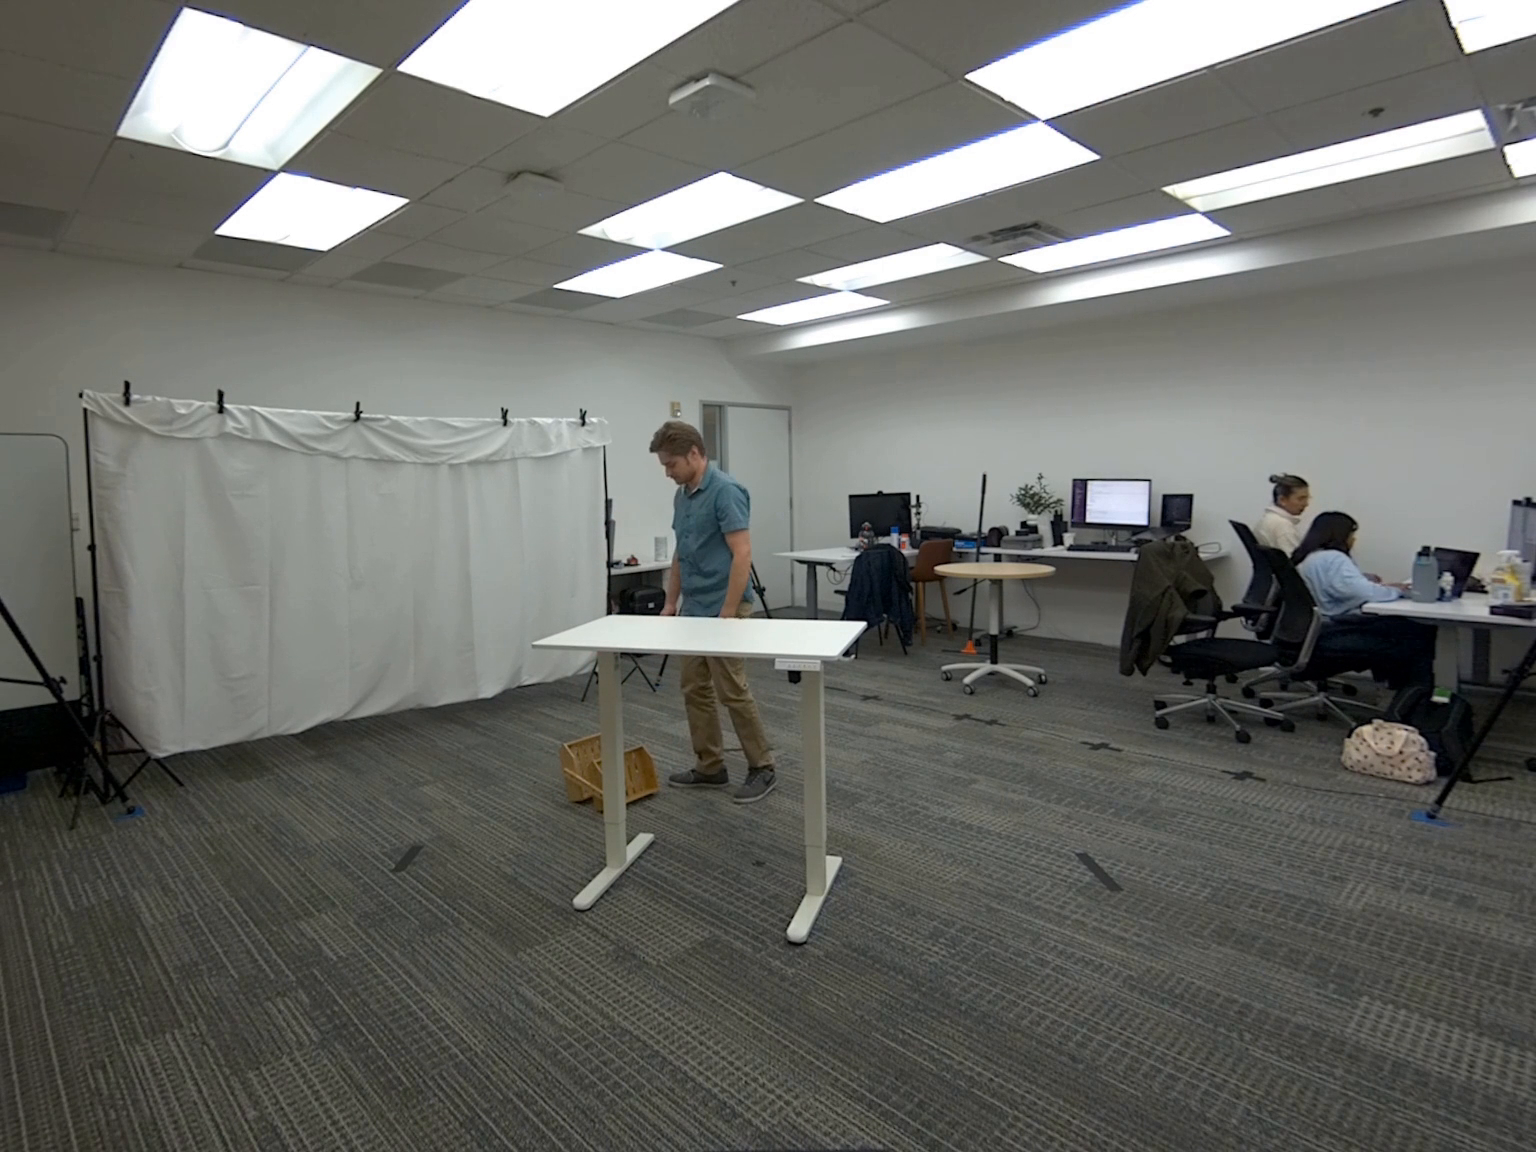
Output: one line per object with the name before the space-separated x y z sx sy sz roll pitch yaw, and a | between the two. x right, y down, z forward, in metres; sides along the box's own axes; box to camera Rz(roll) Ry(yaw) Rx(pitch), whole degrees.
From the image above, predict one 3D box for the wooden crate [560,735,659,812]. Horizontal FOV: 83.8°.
wooden crate | -0.701 0.849 3.802 0.278 0.304 0.316 -19 -8 37
